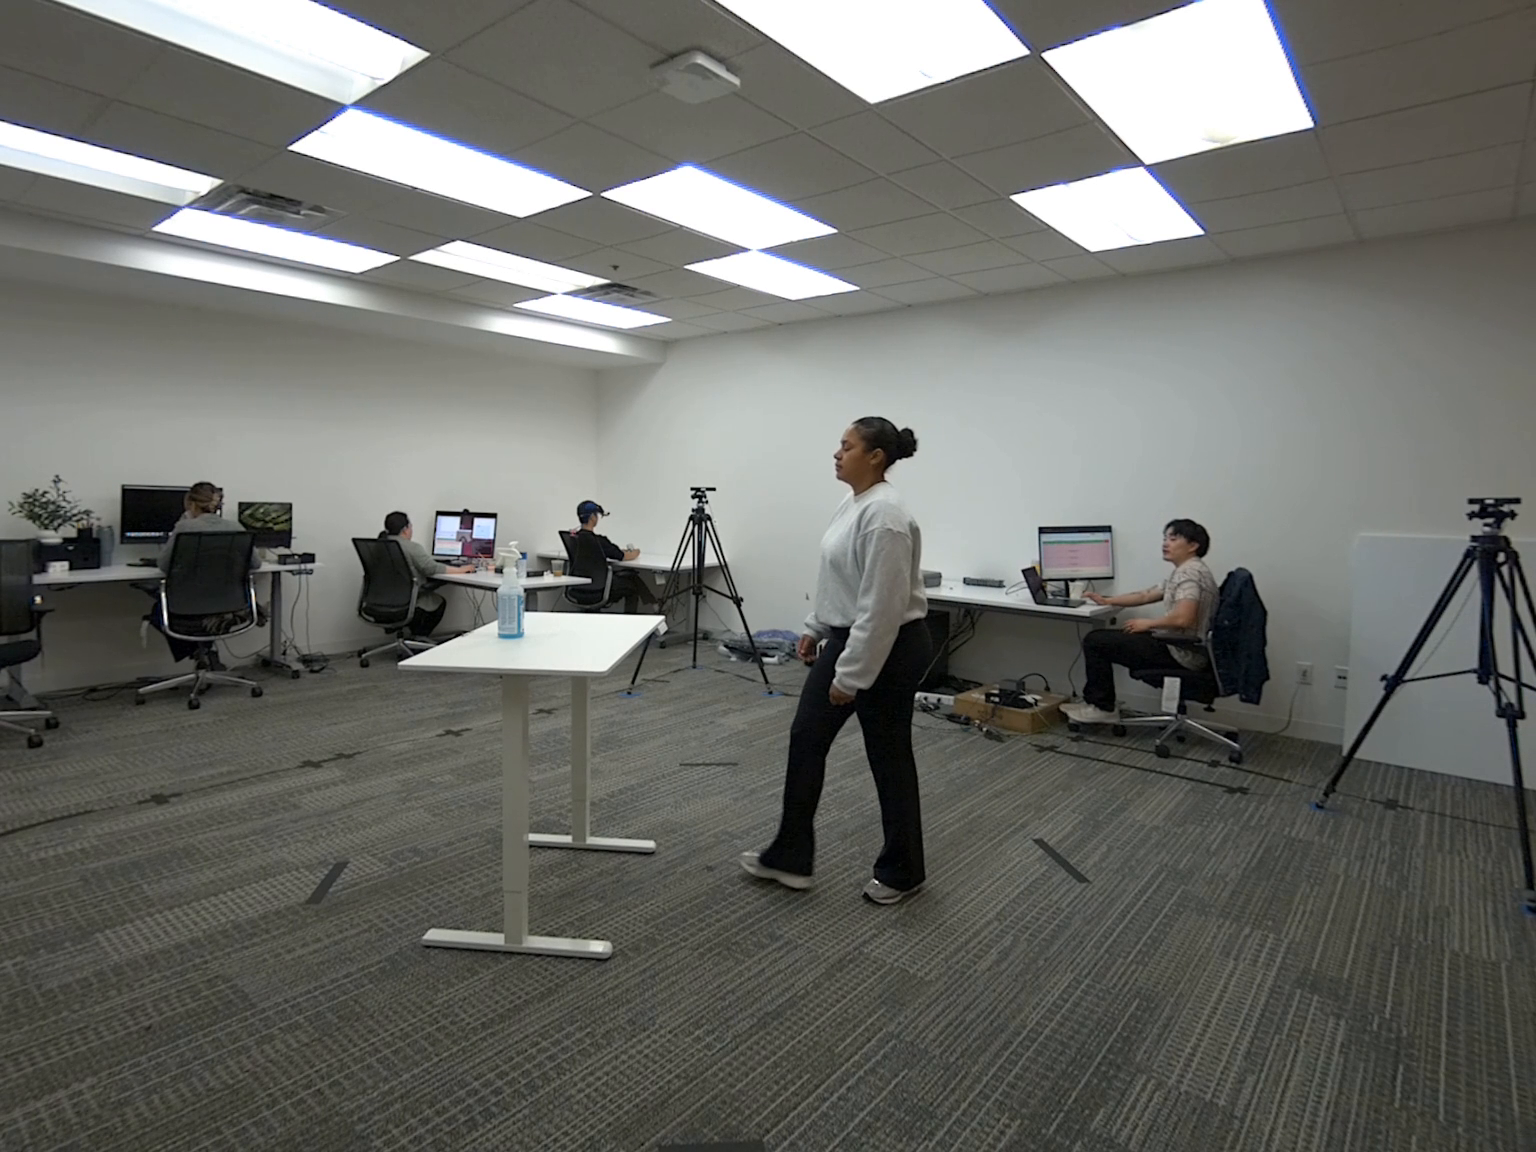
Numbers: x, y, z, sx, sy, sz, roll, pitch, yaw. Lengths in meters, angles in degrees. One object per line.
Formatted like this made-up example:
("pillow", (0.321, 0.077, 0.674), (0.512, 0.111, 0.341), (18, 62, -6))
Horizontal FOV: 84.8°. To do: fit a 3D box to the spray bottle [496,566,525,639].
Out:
("spray bottle", (-0.875, 0.056, 2.847), (0.093, 0.297, 0.084), (-1, 2, 35))
